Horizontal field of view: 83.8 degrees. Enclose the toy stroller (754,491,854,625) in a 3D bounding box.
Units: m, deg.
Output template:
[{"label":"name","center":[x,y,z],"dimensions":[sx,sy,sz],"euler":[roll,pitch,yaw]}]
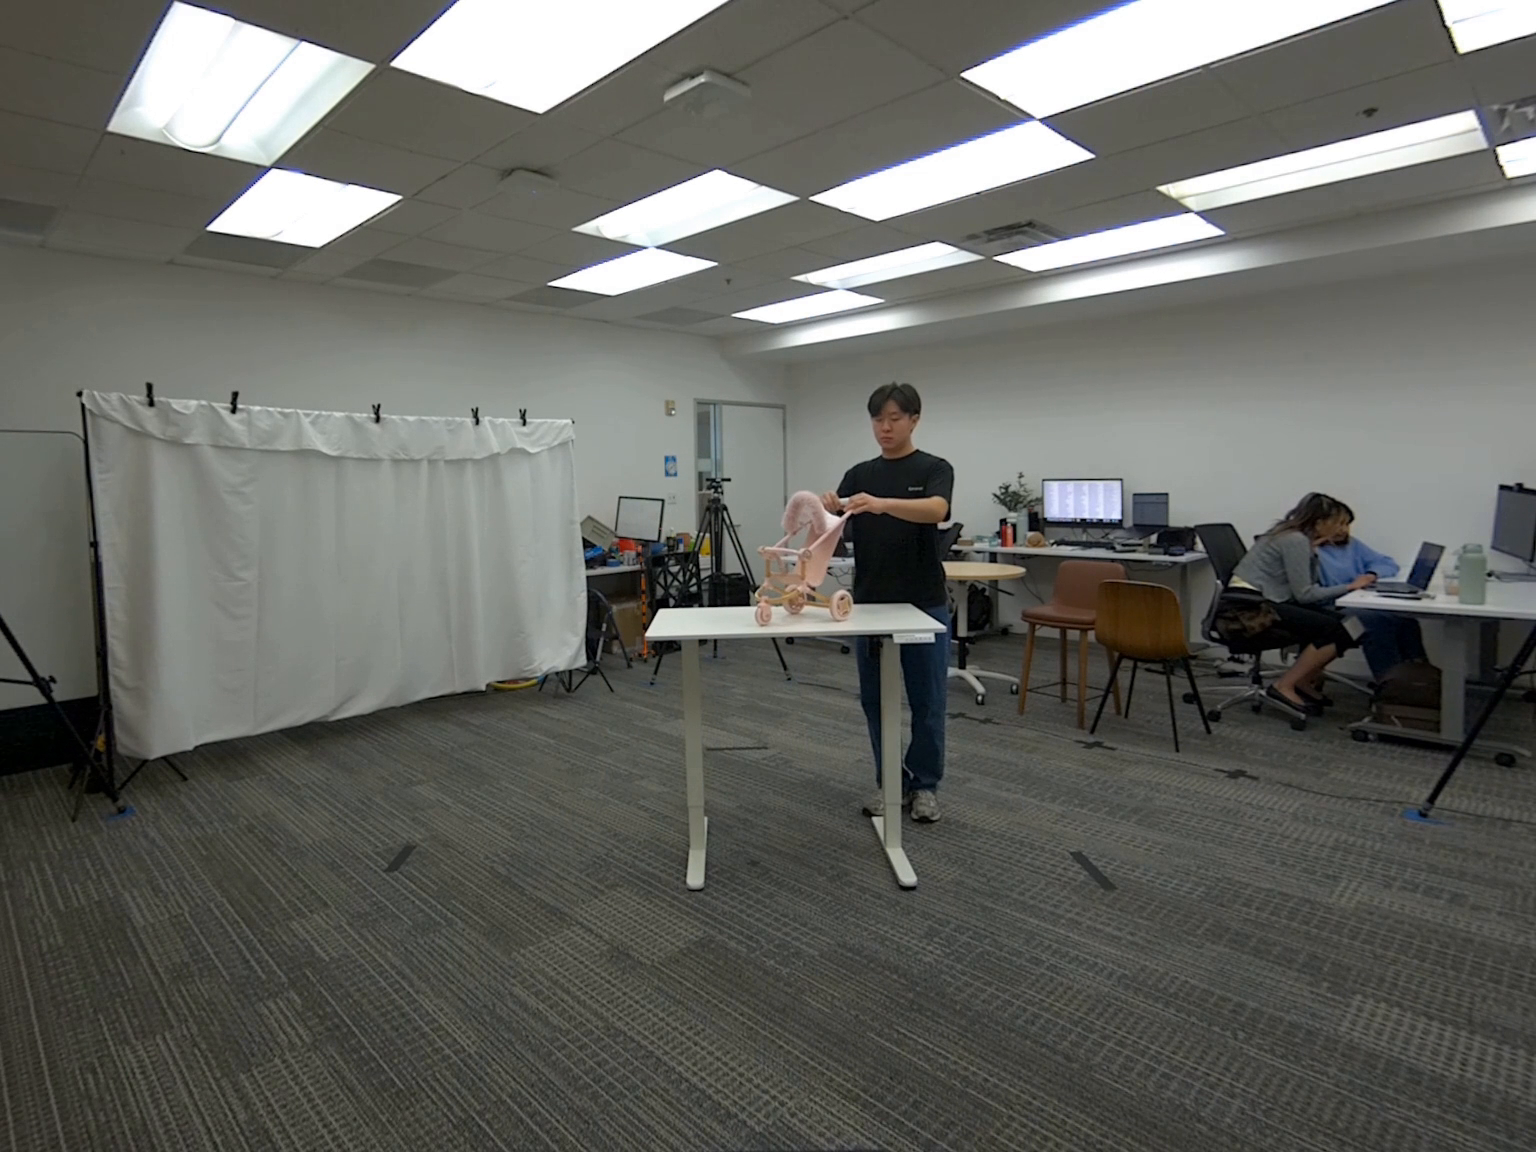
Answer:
[{"label":"toy stroller","center":[0.125,-0.066,3.078],"dimensions":[0.330,0.537,0.289],"euler":[14,-7,-34]}]
